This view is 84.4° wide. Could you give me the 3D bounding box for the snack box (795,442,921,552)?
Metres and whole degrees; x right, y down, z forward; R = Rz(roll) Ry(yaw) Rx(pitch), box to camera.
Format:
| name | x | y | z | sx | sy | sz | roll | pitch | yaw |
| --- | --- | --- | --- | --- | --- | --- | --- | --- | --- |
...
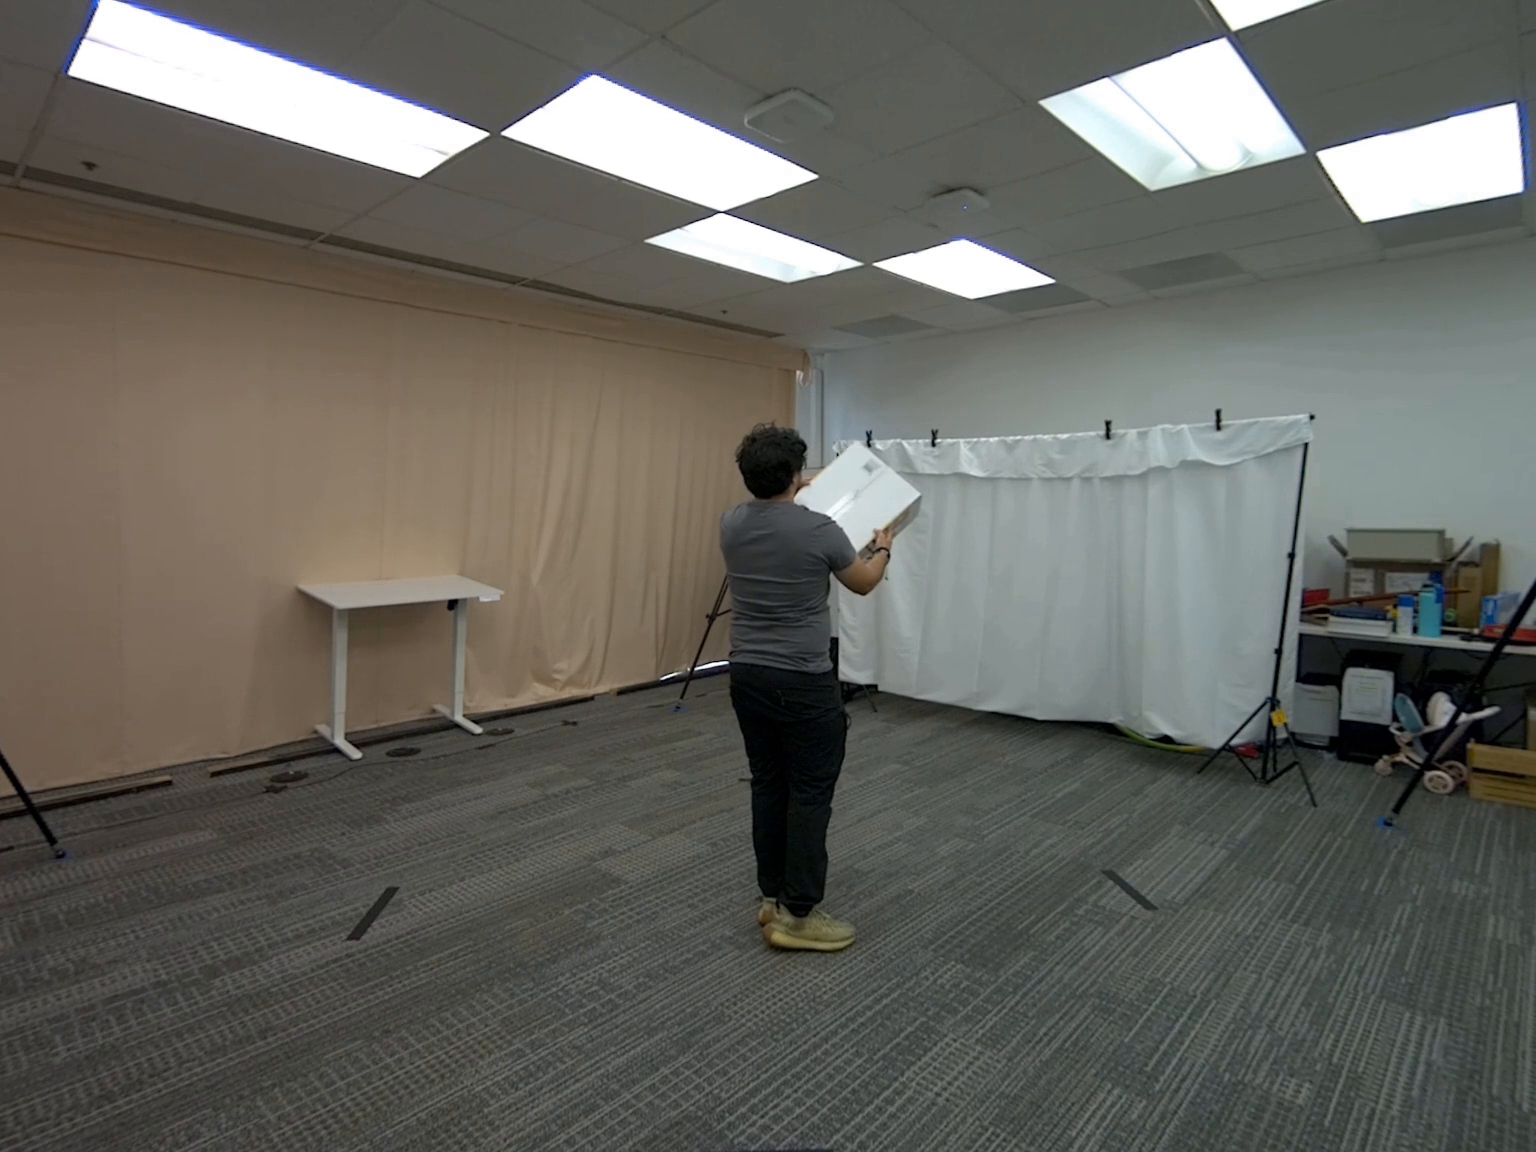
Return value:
| name | x | y | z | sx | sy | sz | roll | pitch | yaw |
| --- | --- | --- | --- | --- | --- | --- | --- | --- | --- |
| snack box | 0.320 | -0.244 | 3.231 | 0.348 | 0.403 | 0.202 | 44 | -11 | 20 |
